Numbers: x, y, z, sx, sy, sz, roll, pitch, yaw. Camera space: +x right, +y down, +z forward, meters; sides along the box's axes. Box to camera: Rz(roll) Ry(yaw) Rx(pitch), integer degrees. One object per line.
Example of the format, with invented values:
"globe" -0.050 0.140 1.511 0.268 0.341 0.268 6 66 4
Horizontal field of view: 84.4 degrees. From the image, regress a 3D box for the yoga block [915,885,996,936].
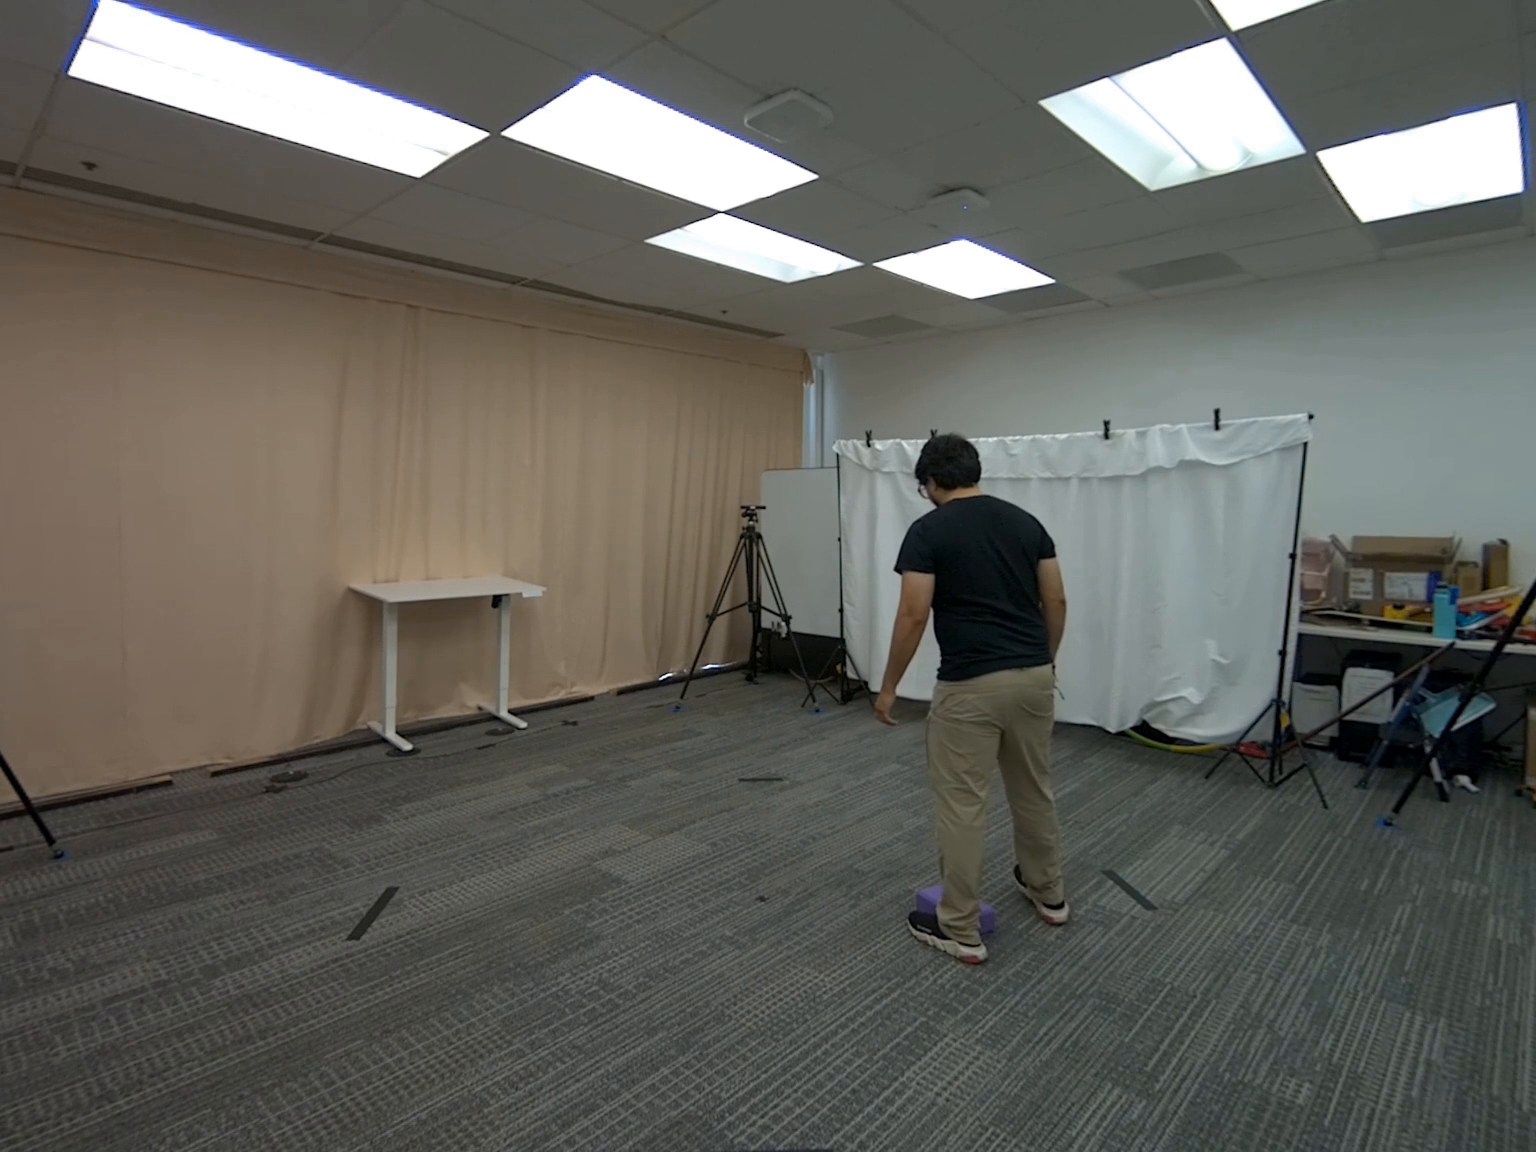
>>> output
"yoga block" 0.632 1.115 2.815 0.145 0.076 0.236 -3 4 -30
